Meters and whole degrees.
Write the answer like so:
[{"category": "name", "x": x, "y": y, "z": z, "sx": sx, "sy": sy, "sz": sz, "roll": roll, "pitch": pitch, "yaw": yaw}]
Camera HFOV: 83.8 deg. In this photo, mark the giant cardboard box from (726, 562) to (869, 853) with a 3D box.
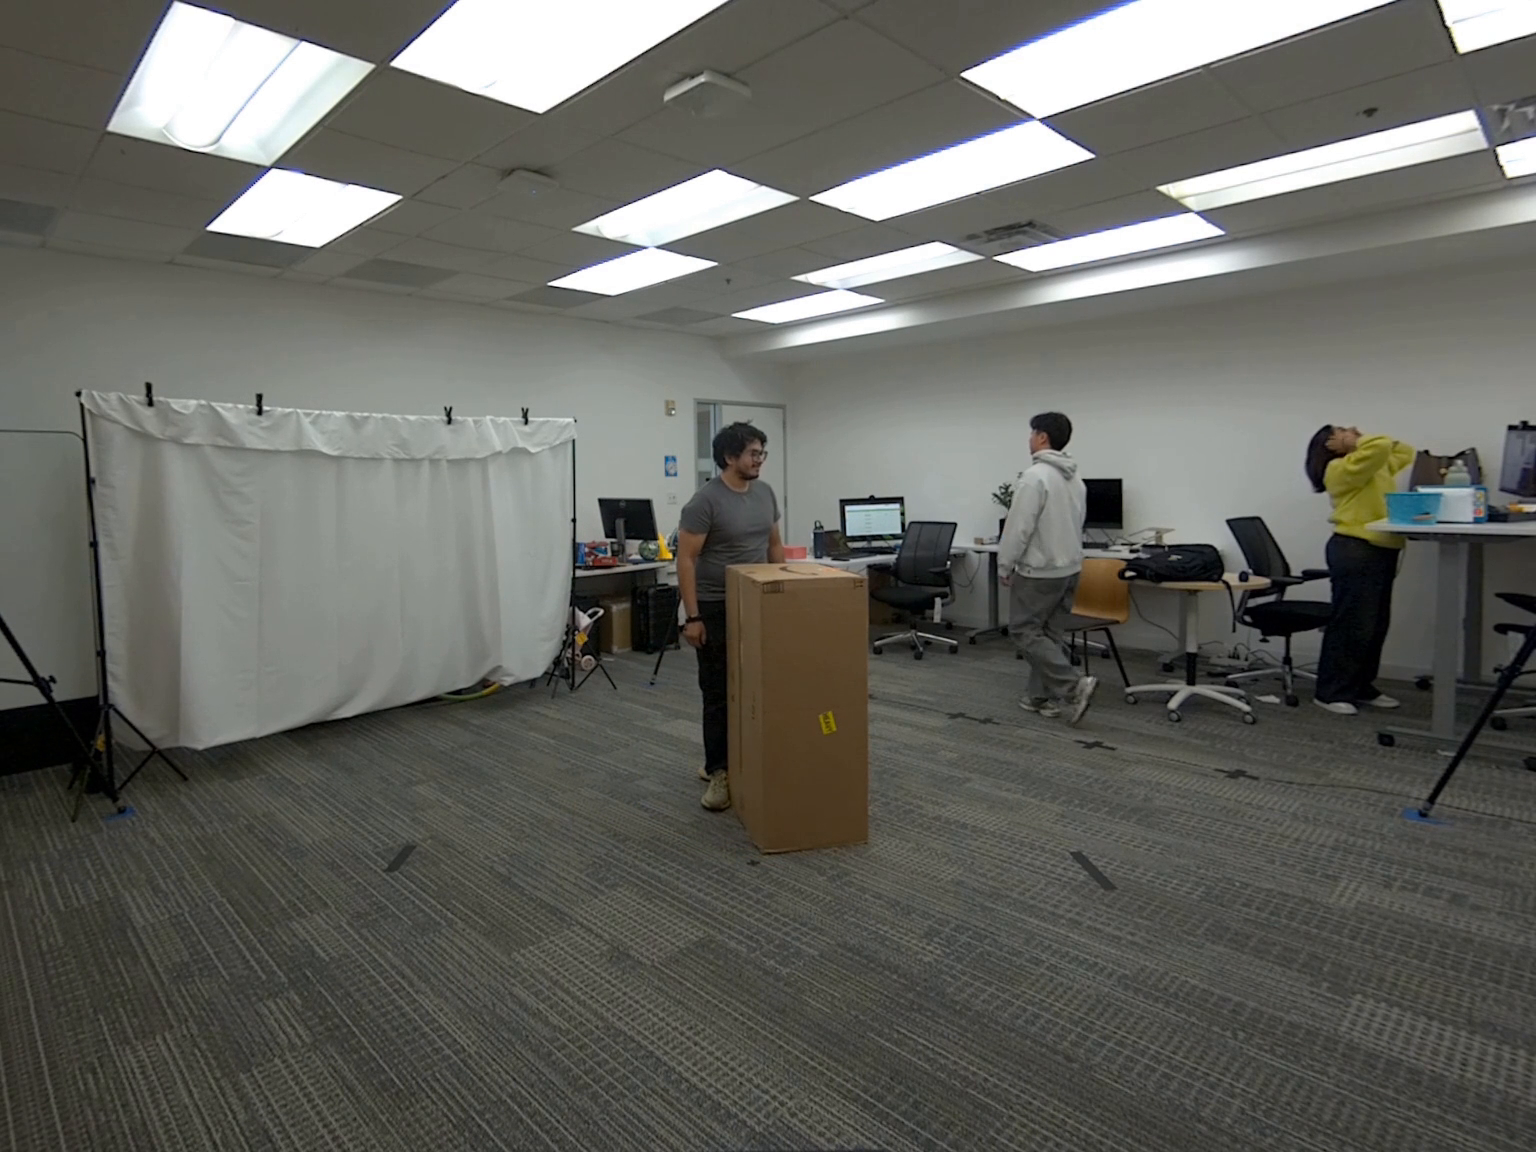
[{"category": "giant cardboard box", "x": 0.106, "y": 0.491, "z": 3.458, "sx": 0.441, "sy": 1.023, "sz": 0.594, "roll": -2, "pitch": 4, "yaw": -15}]
